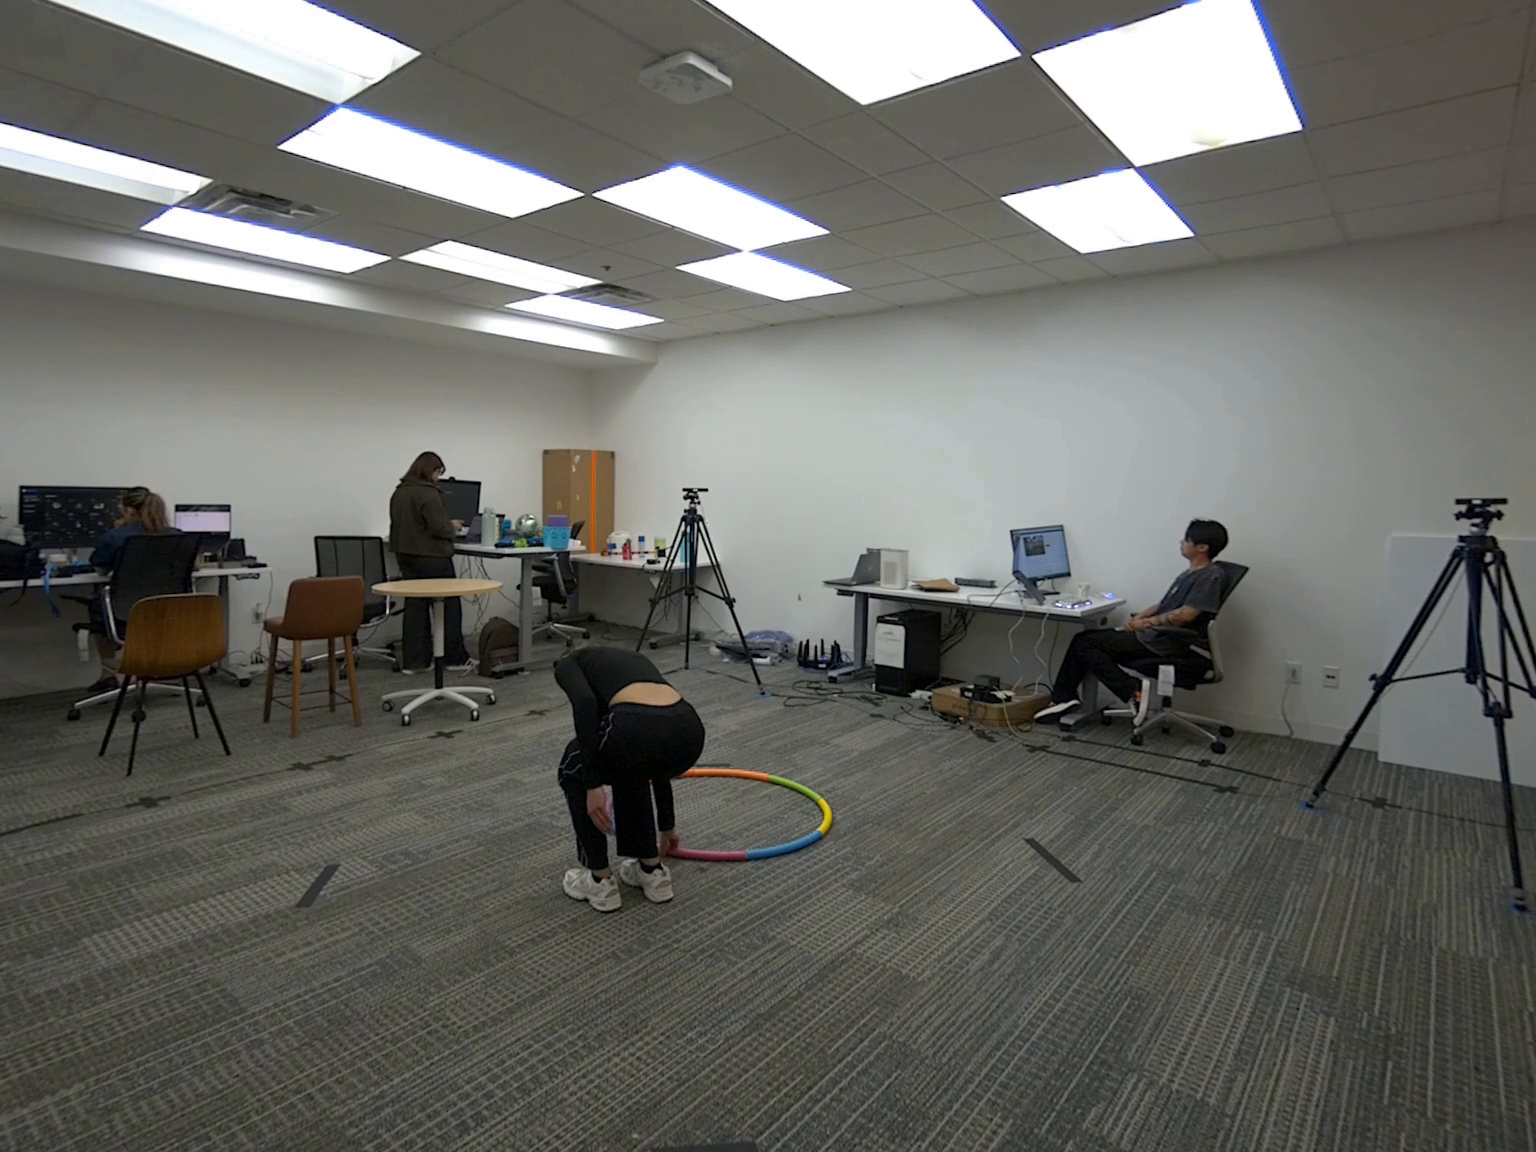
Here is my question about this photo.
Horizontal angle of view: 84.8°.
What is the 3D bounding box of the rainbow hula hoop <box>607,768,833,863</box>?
[{"bbox_3d":[-0.228,0.986,3.655,0.978,0.035,0.984,1,6,-2],"label":"rainbow hula hoop"}]
